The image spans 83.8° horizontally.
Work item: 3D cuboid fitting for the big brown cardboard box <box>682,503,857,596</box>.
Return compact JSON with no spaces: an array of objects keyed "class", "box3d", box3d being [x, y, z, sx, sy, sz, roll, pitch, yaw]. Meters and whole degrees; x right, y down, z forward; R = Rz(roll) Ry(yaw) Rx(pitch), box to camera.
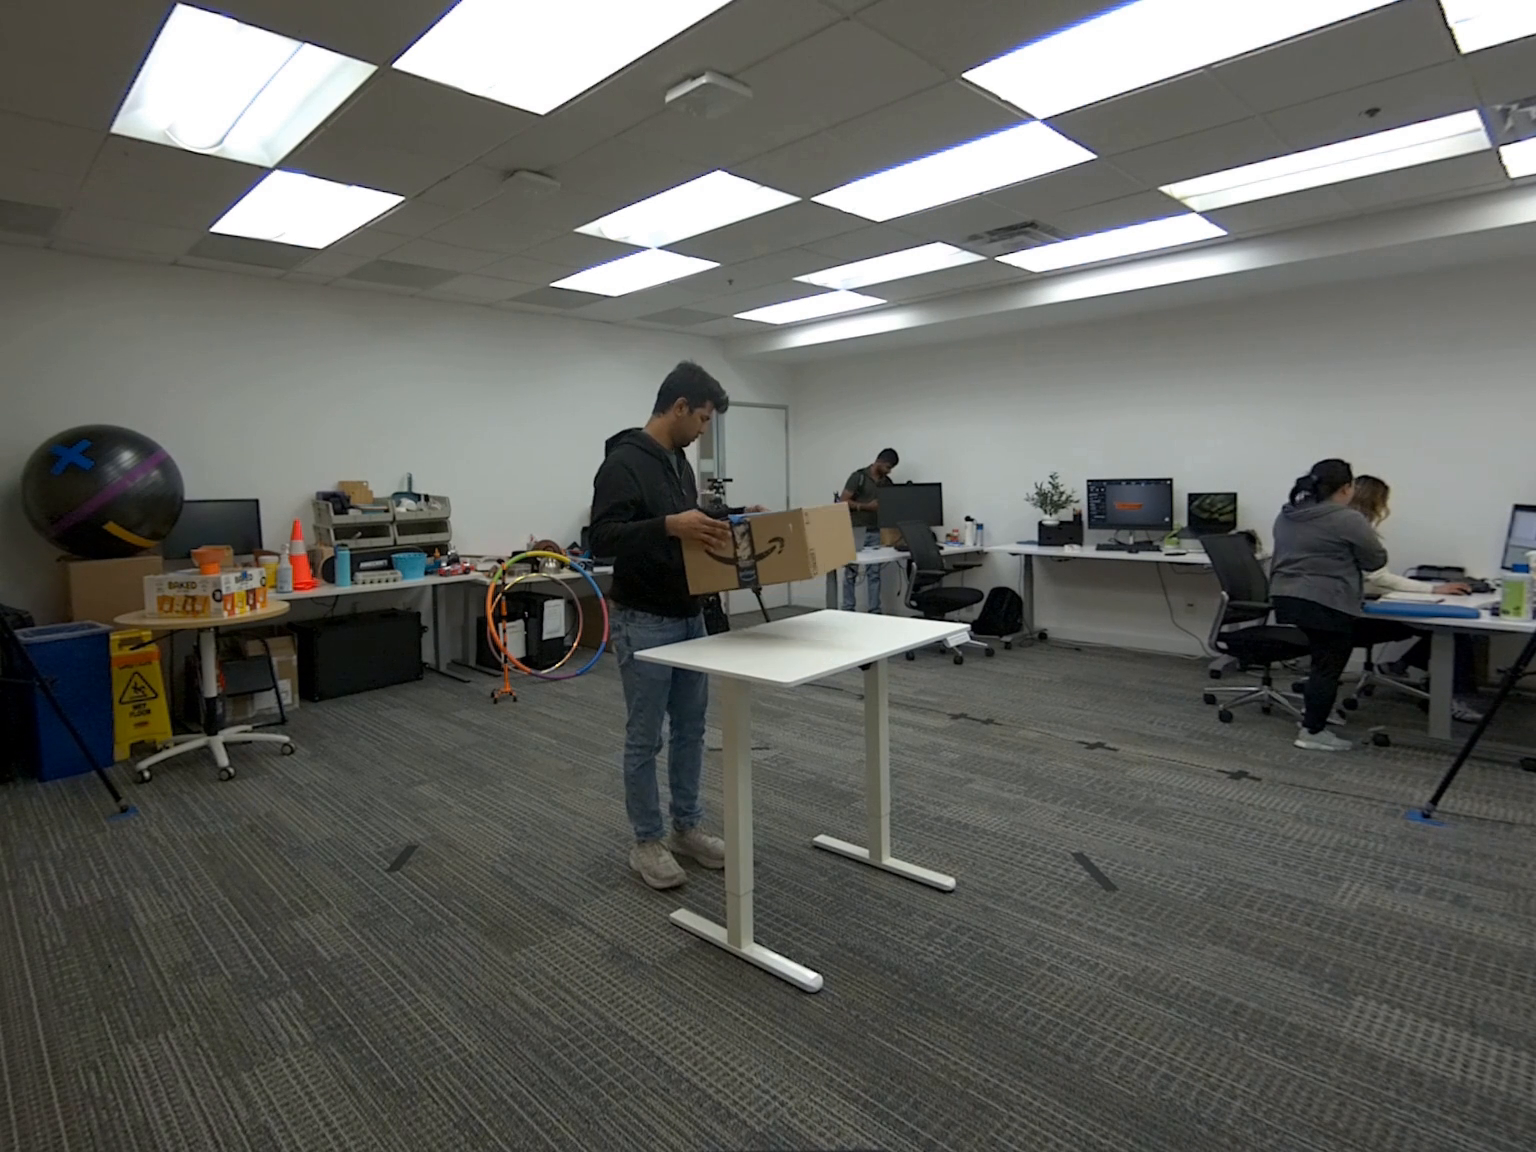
[{"class":"big brown cardboard box","box3d":[0.012,-0.096,2.893,0.425,0.233,0.578,-6,2,23]}]
